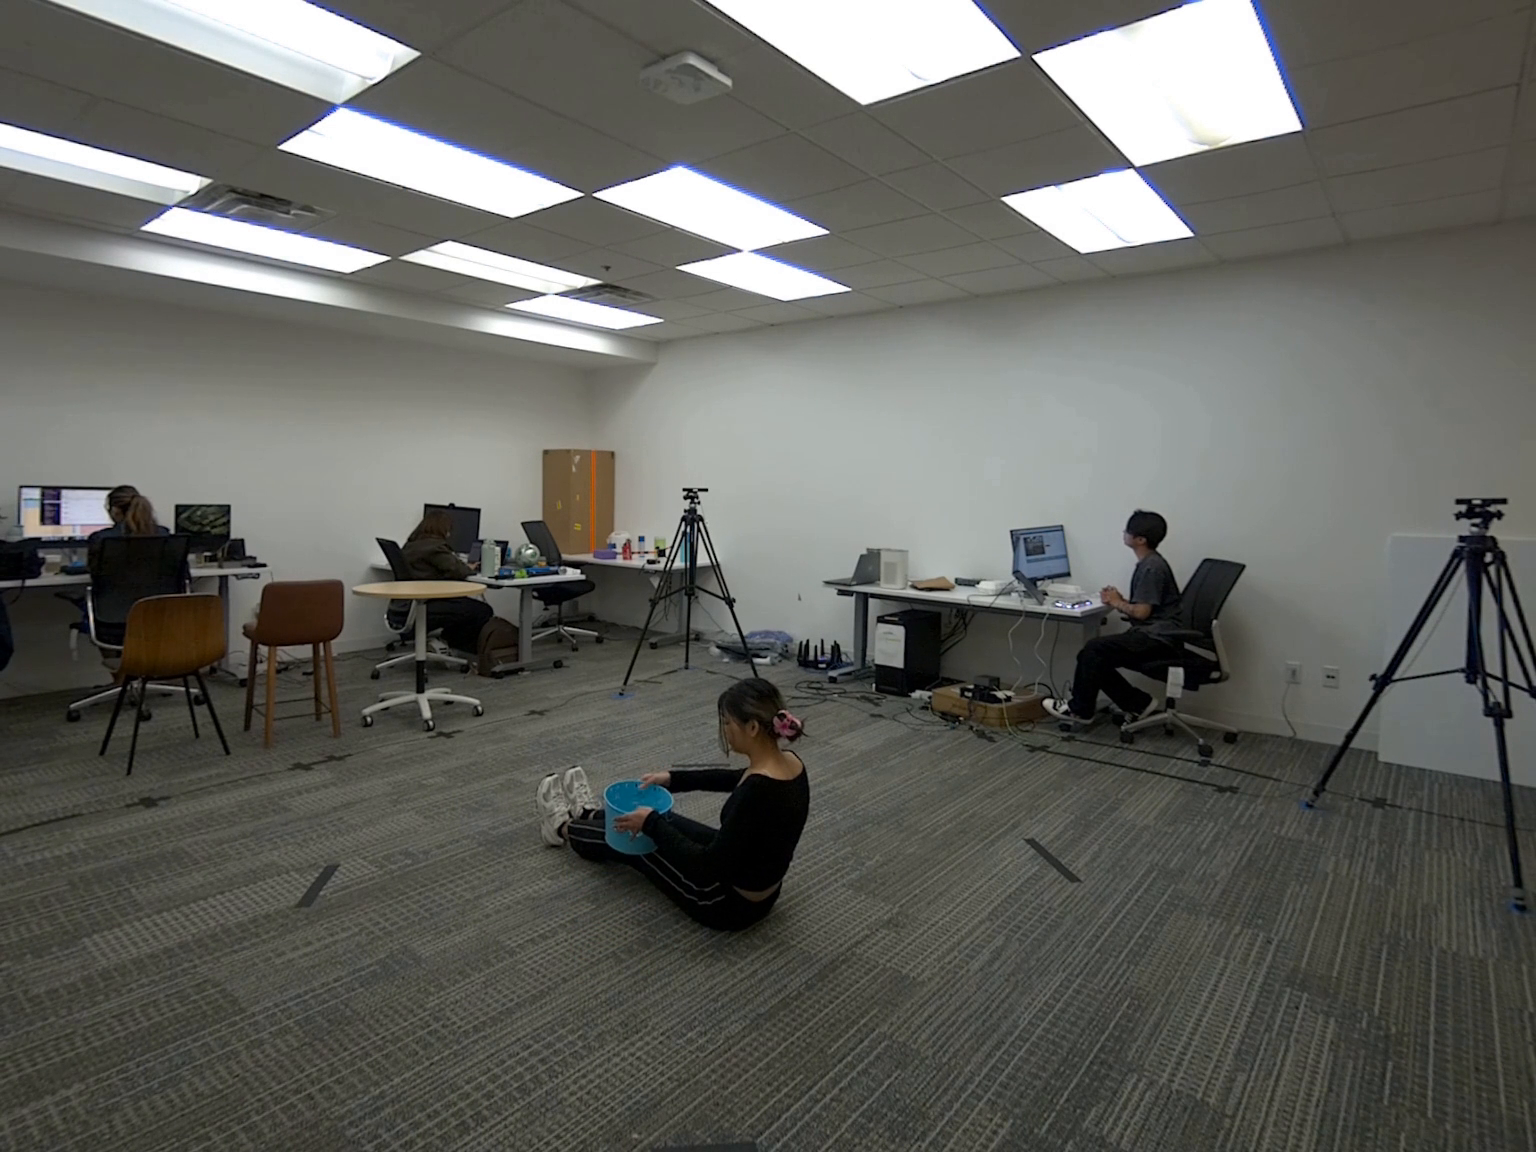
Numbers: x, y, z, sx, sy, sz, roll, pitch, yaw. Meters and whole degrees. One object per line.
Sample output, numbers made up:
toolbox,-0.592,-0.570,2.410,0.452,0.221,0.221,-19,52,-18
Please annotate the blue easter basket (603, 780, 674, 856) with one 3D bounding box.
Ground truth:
blue easter basket,-0.439,0.805,2.807,0.243,0.154,0.246,6,11,-3
